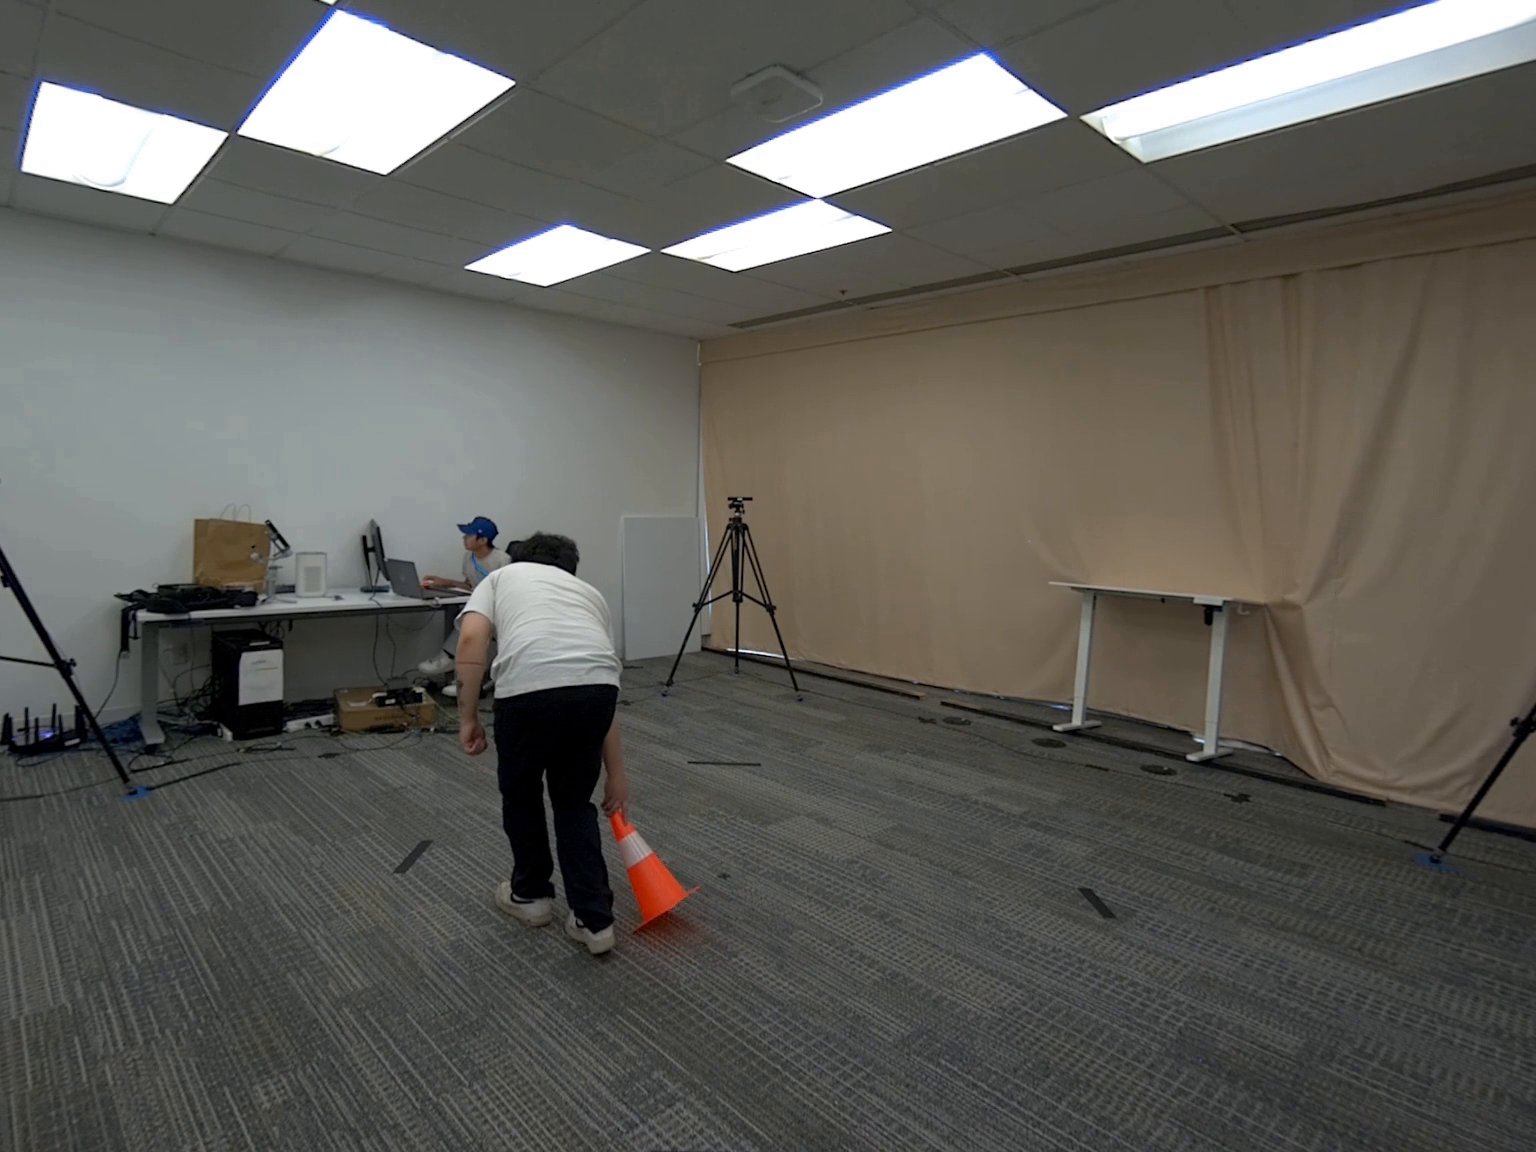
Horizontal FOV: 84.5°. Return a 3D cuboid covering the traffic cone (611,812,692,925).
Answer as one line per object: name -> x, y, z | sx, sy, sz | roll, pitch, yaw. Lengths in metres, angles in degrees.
traffic cone -> -0.438, 0.929, 2.776 | 0.204, 0.390, 0.201 | -36, -15, 18
